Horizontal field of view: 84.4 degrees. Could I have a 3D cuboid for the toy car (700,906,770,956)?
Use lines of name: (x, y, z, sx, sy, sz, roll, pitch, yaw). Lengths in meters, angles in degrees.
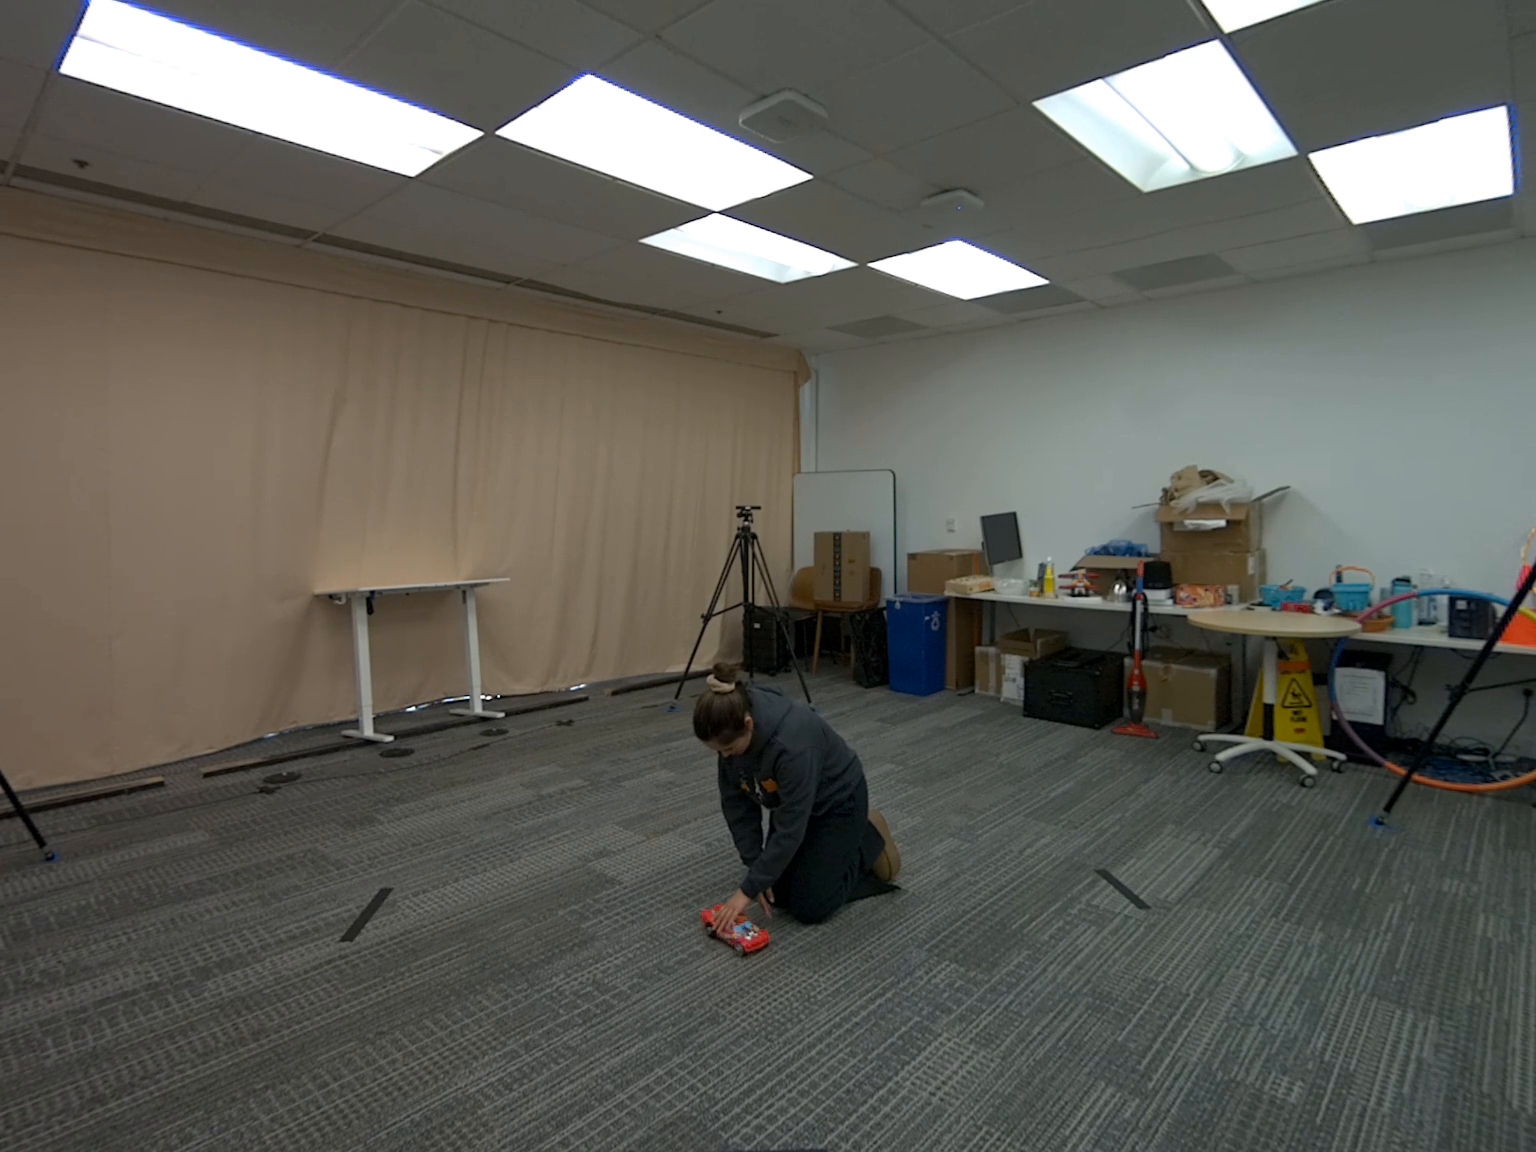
toy car: (-0.091, 1.133, 2.709, 0.126, 0.083, 0.264, -5, 16, -39)
